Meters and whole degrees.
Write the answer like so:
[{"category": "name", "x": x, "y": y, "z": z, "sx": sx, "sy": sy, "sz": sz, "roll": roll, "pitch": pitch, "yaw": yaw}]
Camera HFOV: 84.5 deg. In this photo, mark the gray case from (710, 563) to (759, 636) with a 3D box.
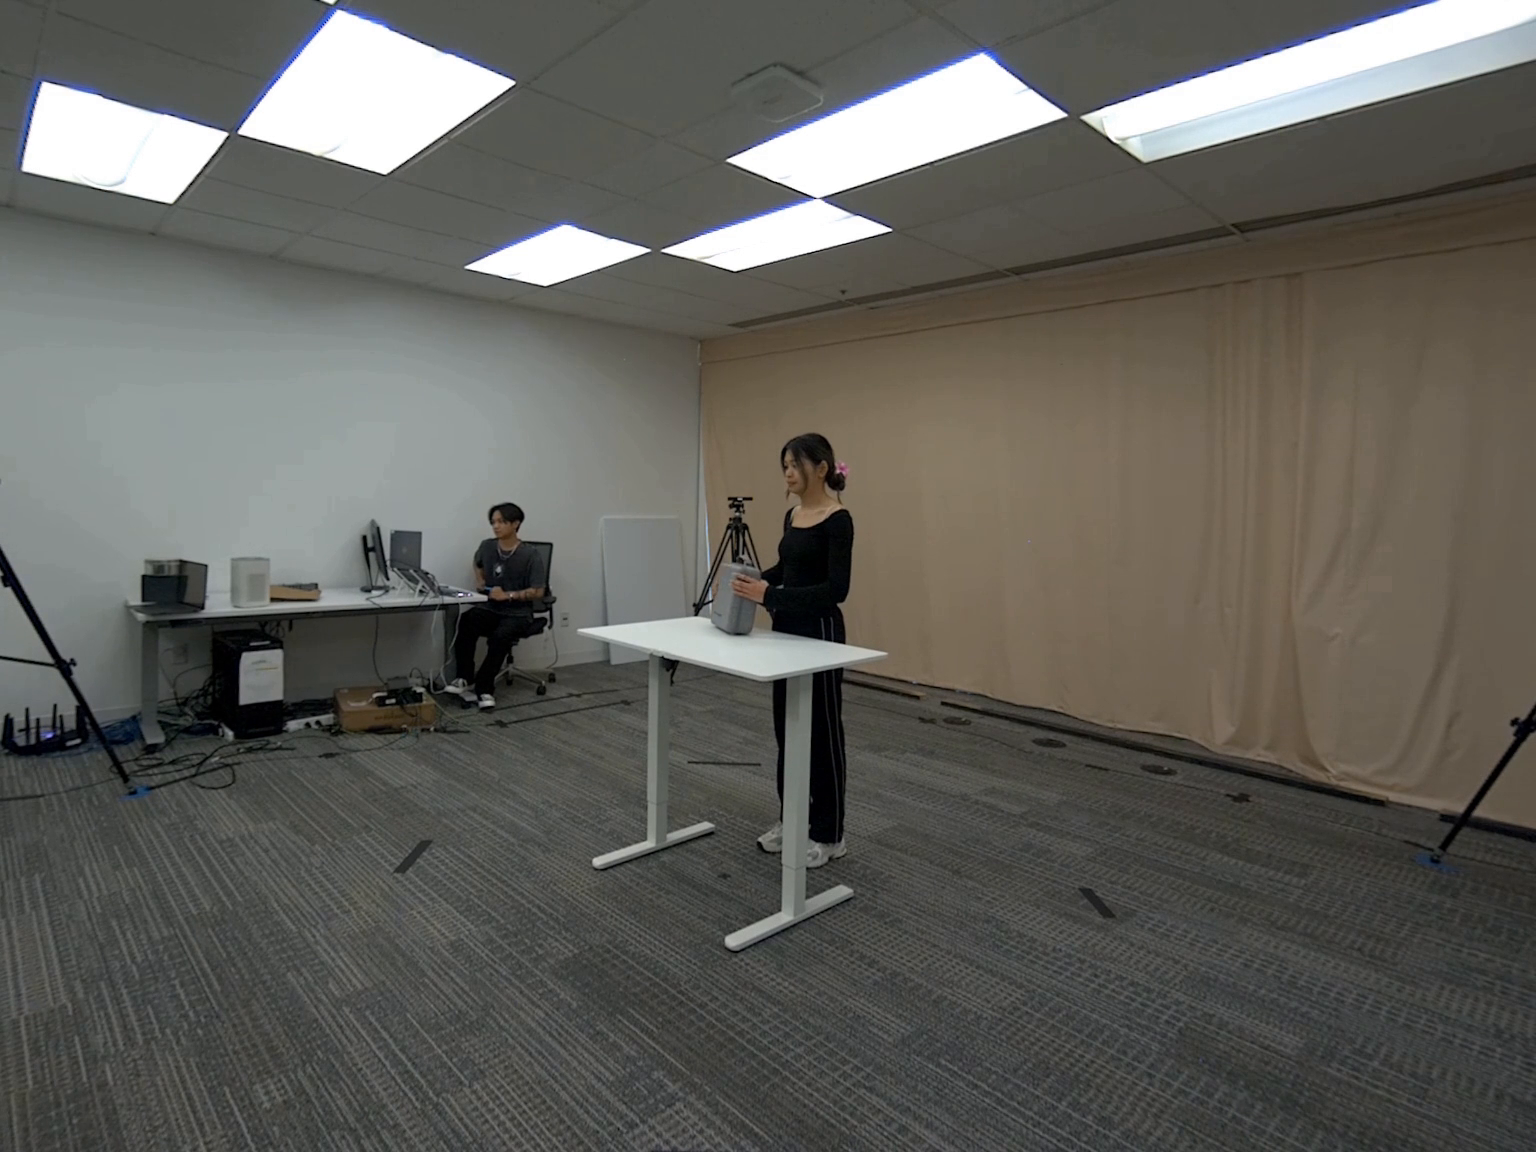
[{"category": "gray case", "x": -0.132, "y": 0.079, "z": 3.233, "sx": 0.103, "sy": 0.260, "sz": 0.261, "roll": 8, "pitch": 2, "yaw": -18}]
